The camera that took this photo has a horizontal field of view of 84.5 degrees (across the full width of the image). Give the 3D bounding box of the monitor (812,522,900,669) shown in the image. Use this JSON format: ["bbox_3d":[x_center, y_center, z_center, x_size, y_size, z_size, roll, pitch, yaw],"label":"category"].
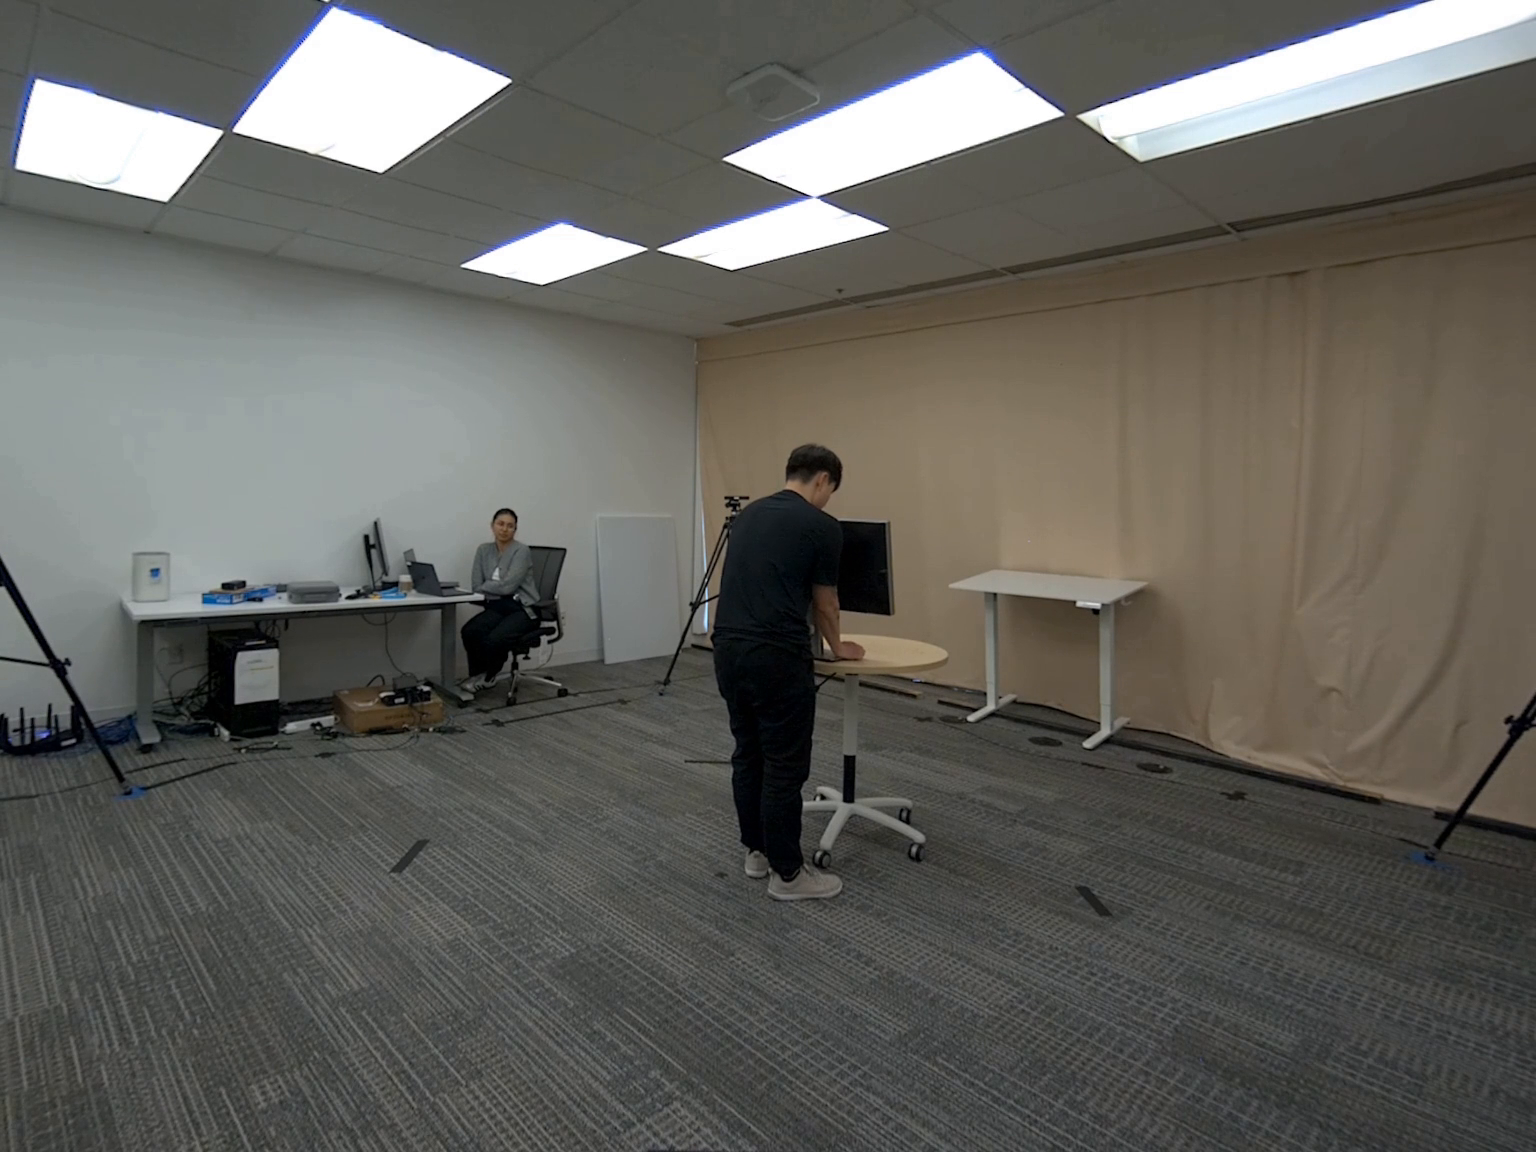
[{"bbox_3d":[0.211,0.047,3.301,0.553,0.521,0.183,5,4,40],"label":"monitor"}]
